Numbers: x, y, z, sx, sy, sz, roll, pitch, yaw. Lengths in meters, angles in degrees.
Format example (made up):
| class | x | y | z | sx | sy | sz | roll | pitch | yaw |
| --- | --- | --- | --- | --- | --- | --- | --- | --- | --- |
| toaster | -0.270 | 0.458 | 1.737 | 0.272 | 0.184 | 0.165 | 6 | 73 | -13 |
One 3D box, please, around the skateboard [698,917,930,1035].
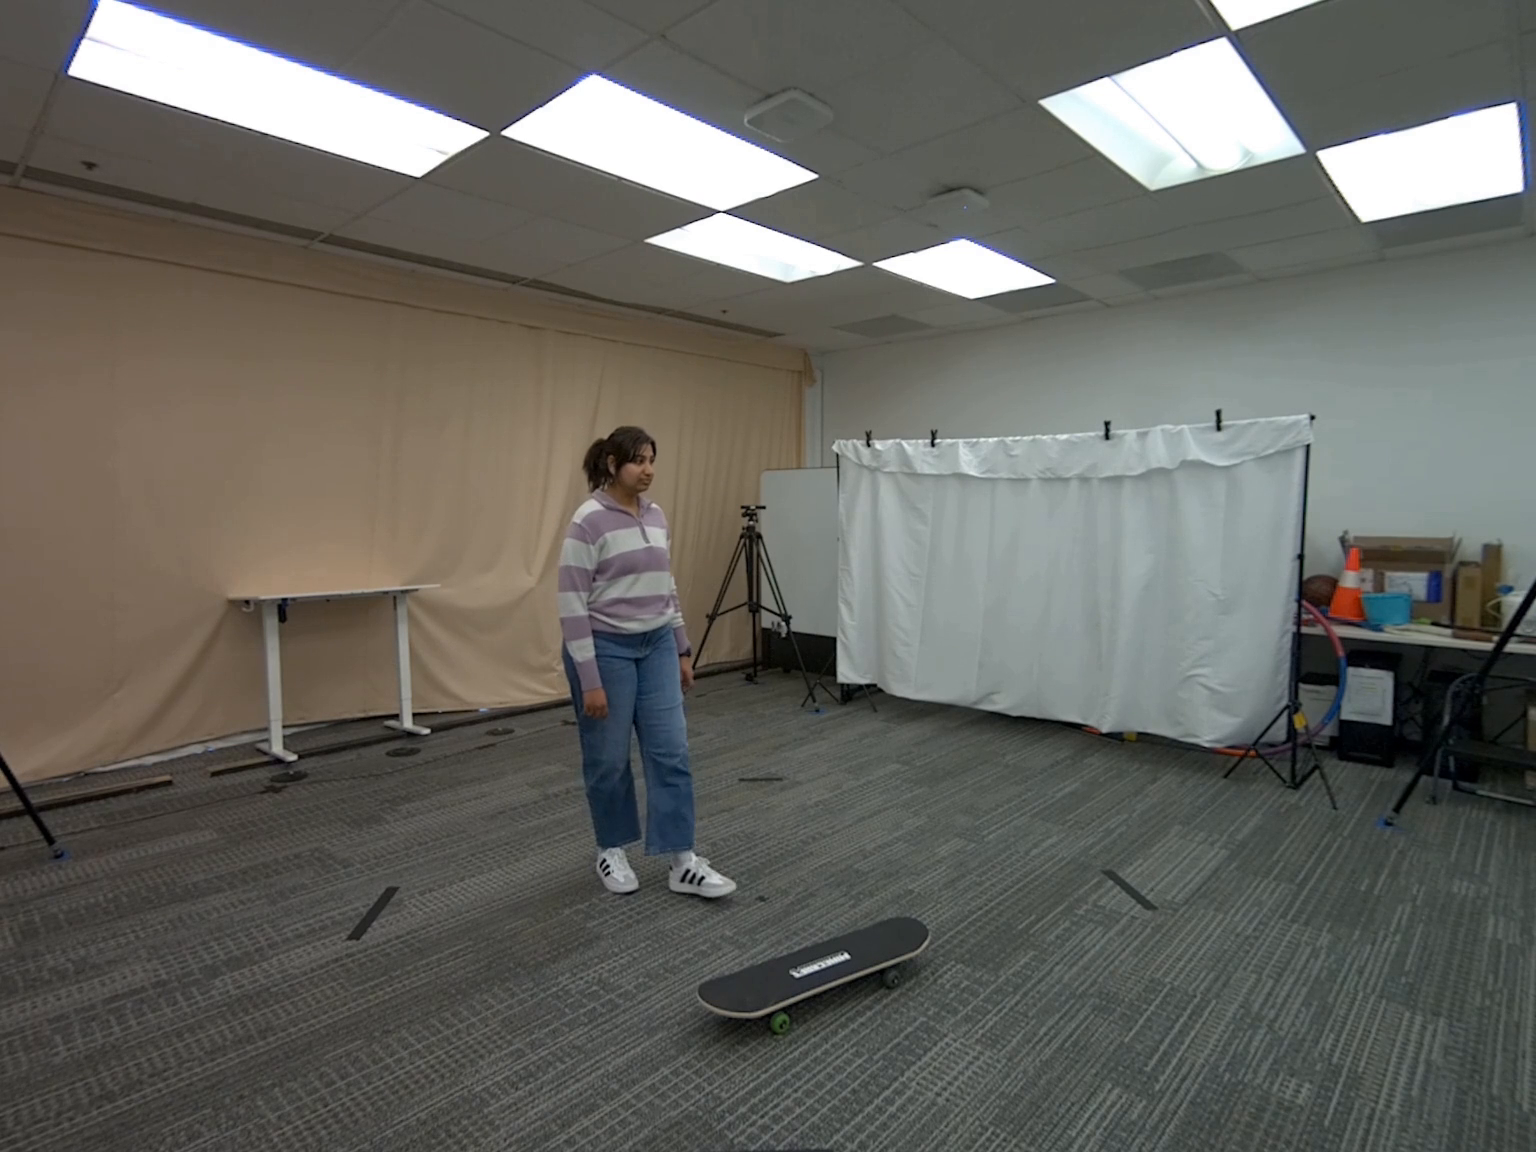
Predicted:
| class | x | y | z | sx | sy | sz | roll | pitch | yaw |
| --- | --- | --- | --- | --- | --- | --- | --- | --- | --- |
| skateboard | 0.156 | 1.140 | 2.391 | 0.764 | 0.110 | 0.199 | -3 | 5 | -32 |
